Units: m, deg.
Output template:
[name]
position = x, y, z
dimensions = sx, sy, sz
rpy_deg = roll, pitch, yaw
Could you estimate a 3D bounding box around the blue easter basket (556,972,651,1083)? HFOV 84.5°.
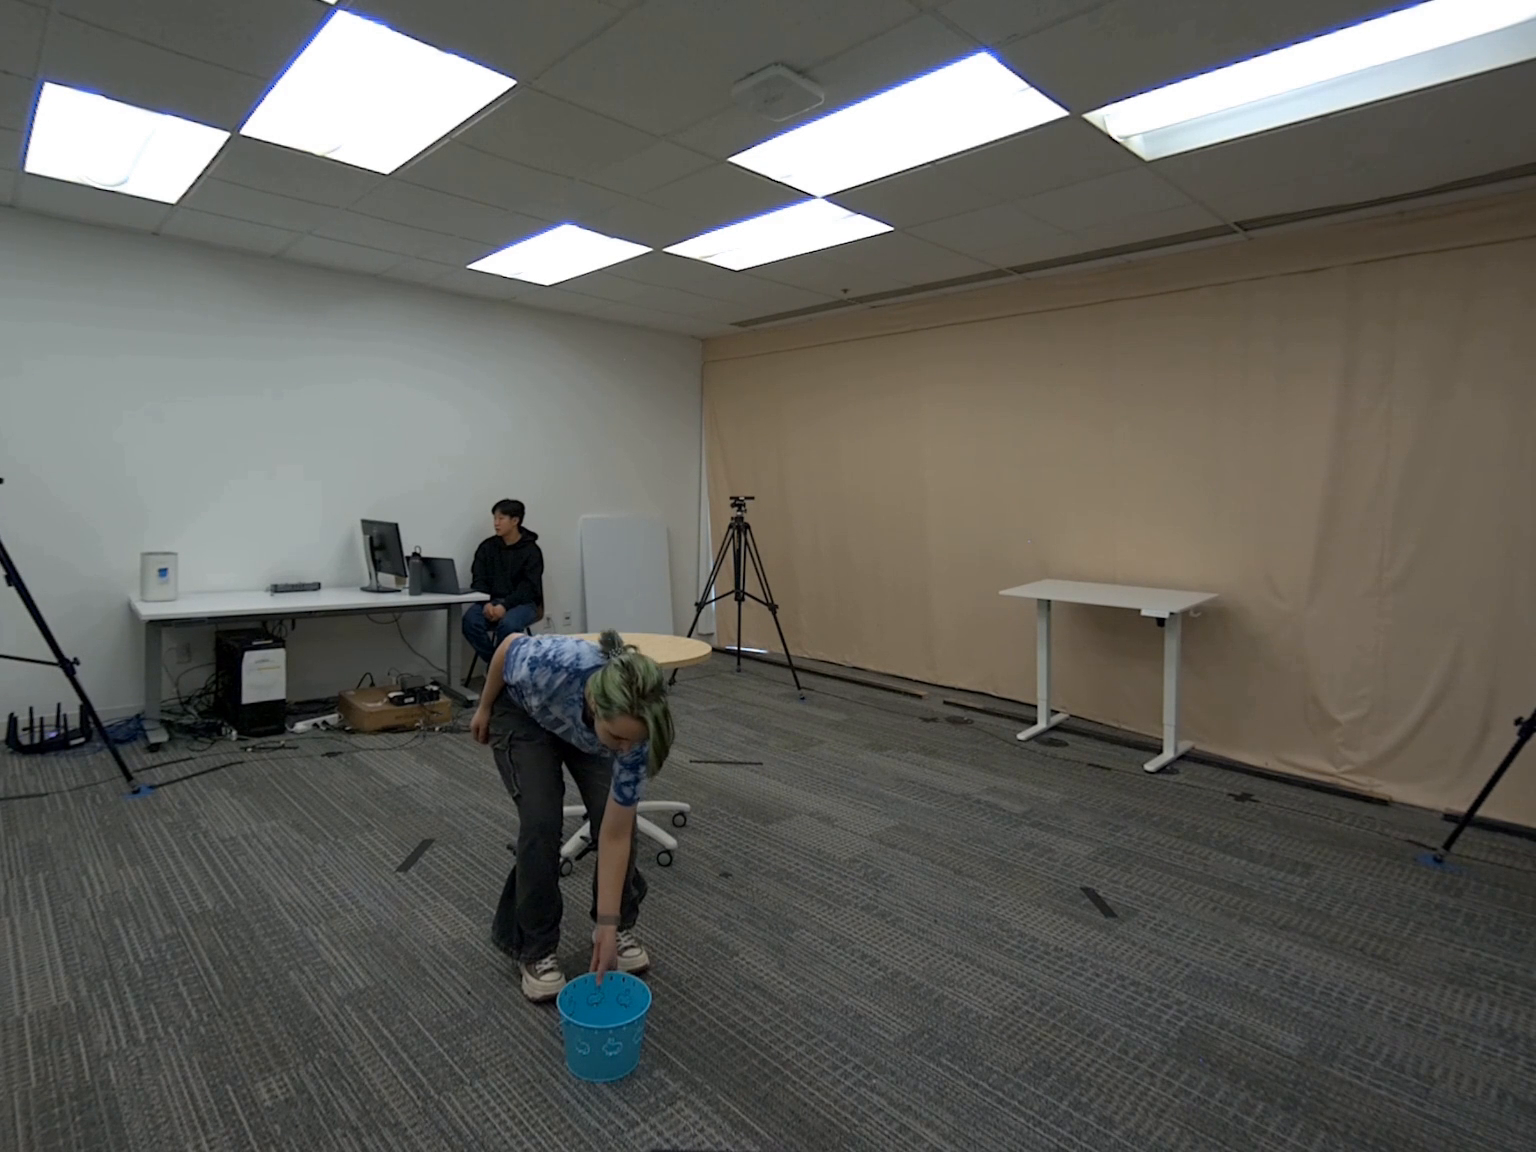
[blue easter basket]
position = -0.412, 1.120, 2.077
dimensions = 0.243, 0.155, 0.244
rpy_deg = 2, 5, -2
